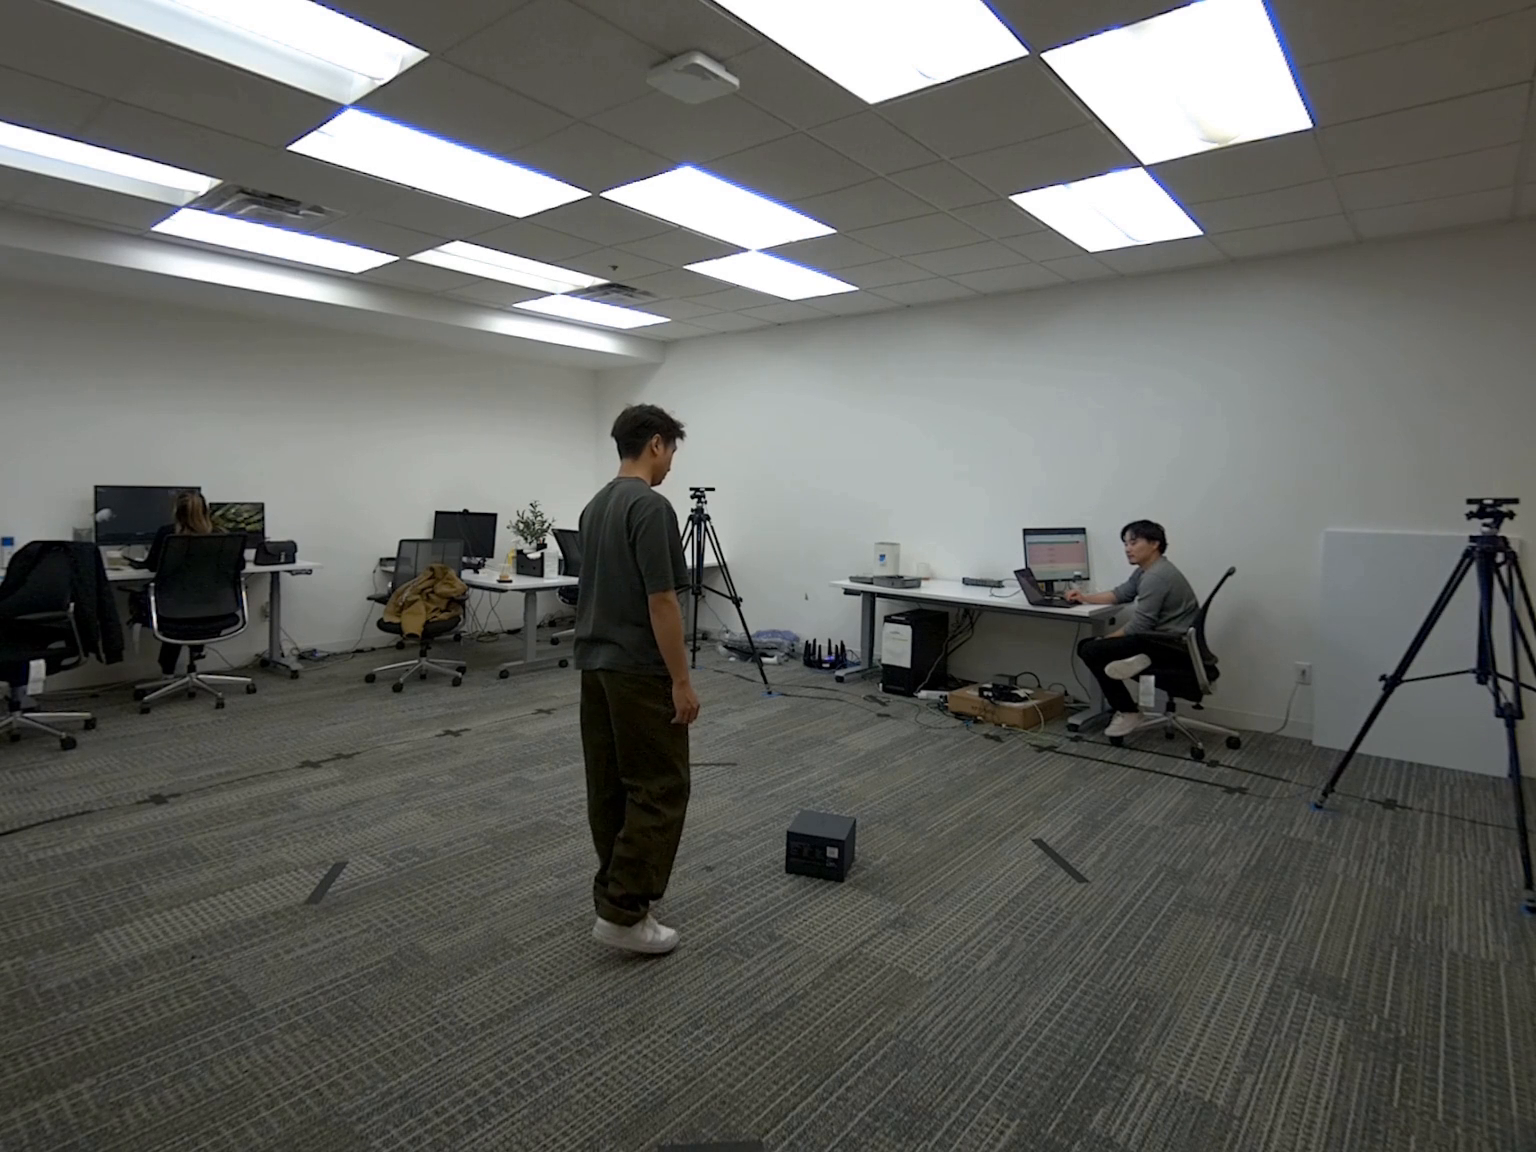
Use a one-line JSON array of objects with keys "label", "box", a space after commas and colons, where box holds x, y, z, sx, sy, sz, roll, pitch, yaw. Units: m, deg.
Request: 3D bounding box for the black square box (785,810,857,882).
[{"label": "black square box", "box": [0.190, 0.986, 3.153, 0.221, 0.155, 0.224, 3, 5, 18]}]
